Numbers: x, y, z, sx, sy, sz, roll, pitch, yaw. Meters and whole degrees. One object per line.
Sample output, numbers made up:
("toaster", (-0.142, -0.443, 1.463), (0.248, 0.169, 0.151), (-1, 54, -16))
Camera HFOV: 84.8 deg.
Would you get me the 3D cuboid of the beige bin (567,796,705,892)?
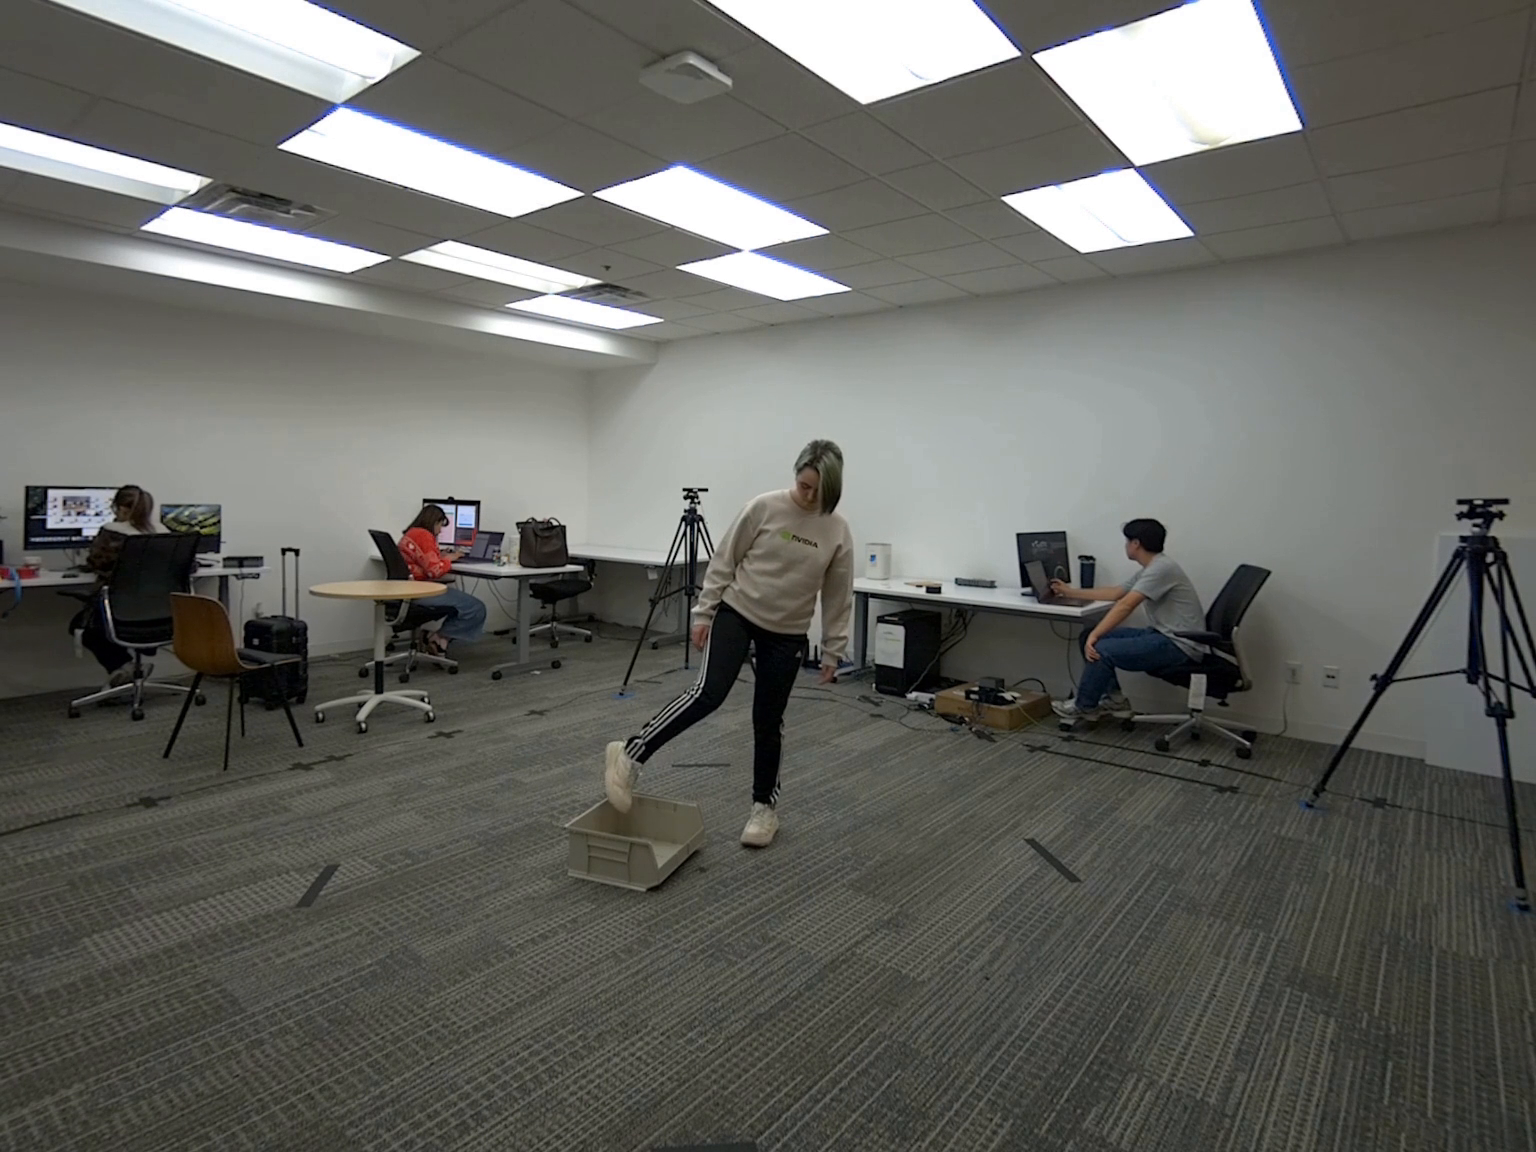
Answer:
("beige bin", (-0.492, 0.967, 3.154), (0.386, 0.188, 0.414), (2, 5, 20))
